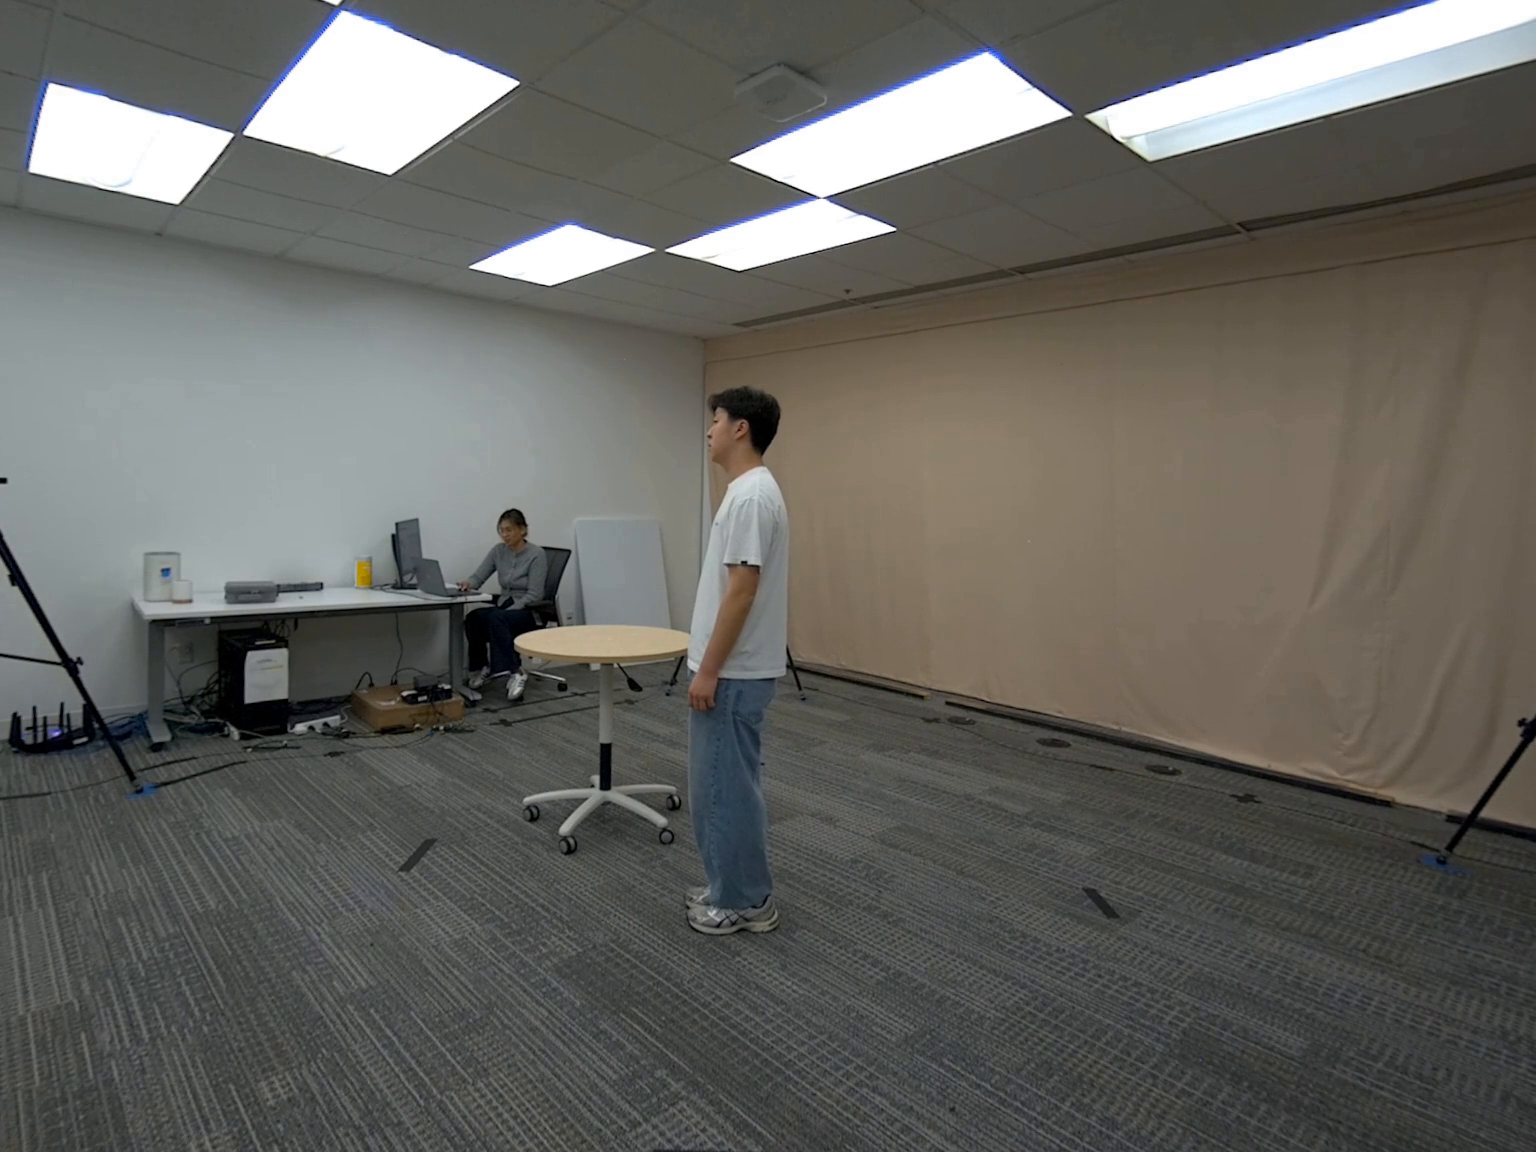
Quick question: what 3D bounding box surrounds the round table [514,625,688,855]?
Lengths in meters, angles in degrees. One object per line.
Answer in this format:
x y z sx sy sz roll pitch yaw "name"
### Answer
-0.692 0.663 3.566 0.763 0.792 0.766 1 4 -1 "round table"
